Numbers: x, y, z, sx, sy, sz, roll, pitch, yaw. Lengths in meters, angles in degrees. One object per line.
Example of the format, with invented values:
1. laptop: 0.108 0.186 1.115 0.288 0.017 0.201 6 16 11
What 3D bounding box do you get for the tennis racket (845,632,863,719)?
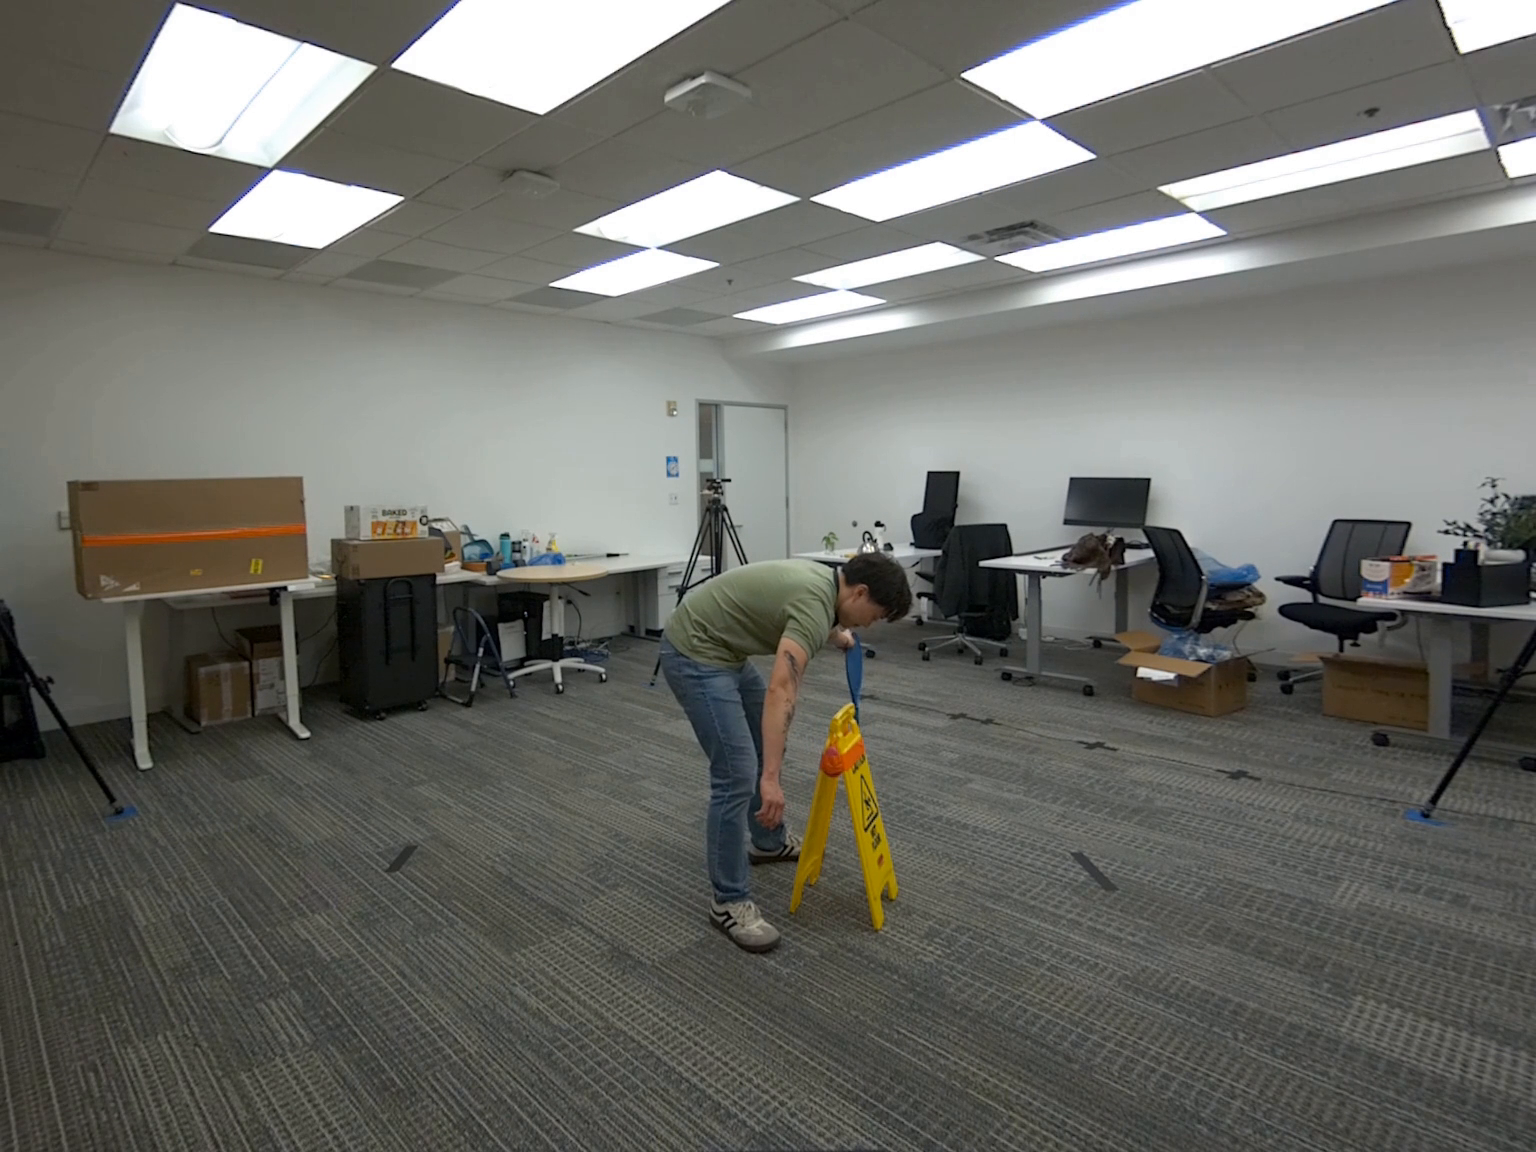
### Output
1. tennis racket: 0.365 0.458 3.545 0.032 0.438 0.207 -6 -15 22
